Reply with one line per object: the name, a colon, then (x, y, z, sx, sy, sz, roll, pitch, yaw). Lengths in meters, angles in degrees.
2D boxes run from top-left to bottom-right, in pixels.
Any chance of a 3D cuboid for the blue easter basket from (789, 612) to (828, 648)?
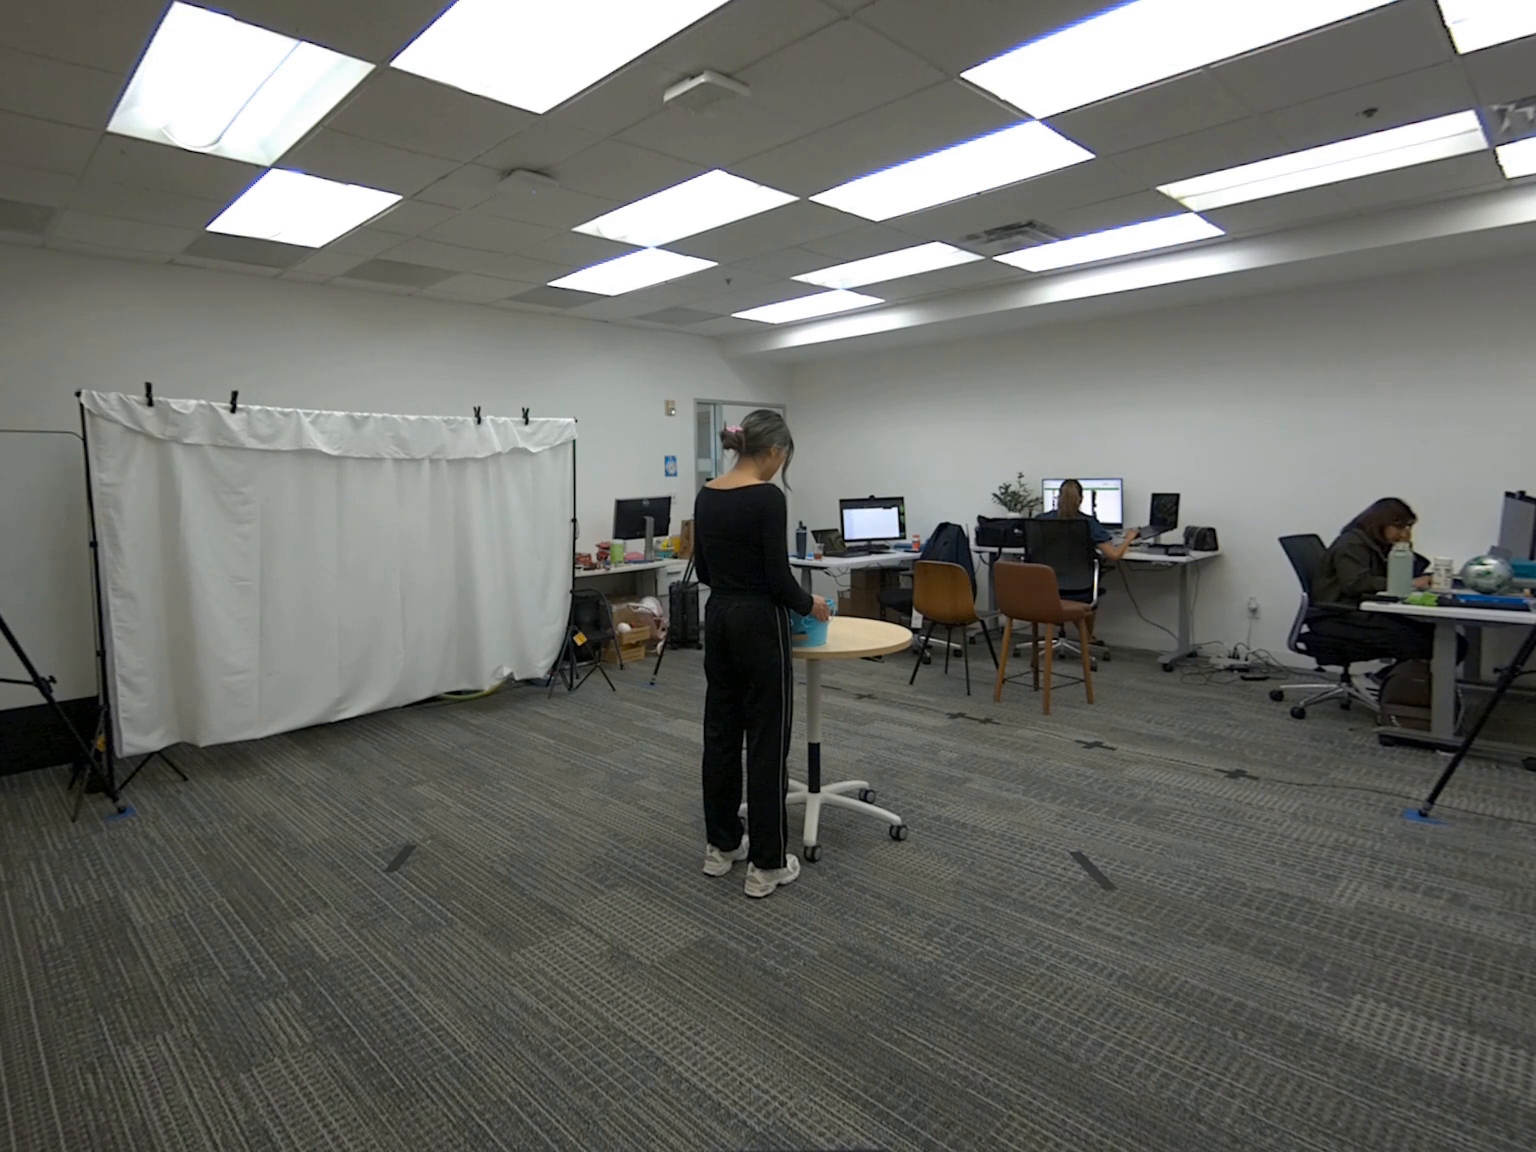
blue easter basket: (0.129, 0.174, 3.168, 0.243, 0.155, 0.245, -2, 6, -1)
